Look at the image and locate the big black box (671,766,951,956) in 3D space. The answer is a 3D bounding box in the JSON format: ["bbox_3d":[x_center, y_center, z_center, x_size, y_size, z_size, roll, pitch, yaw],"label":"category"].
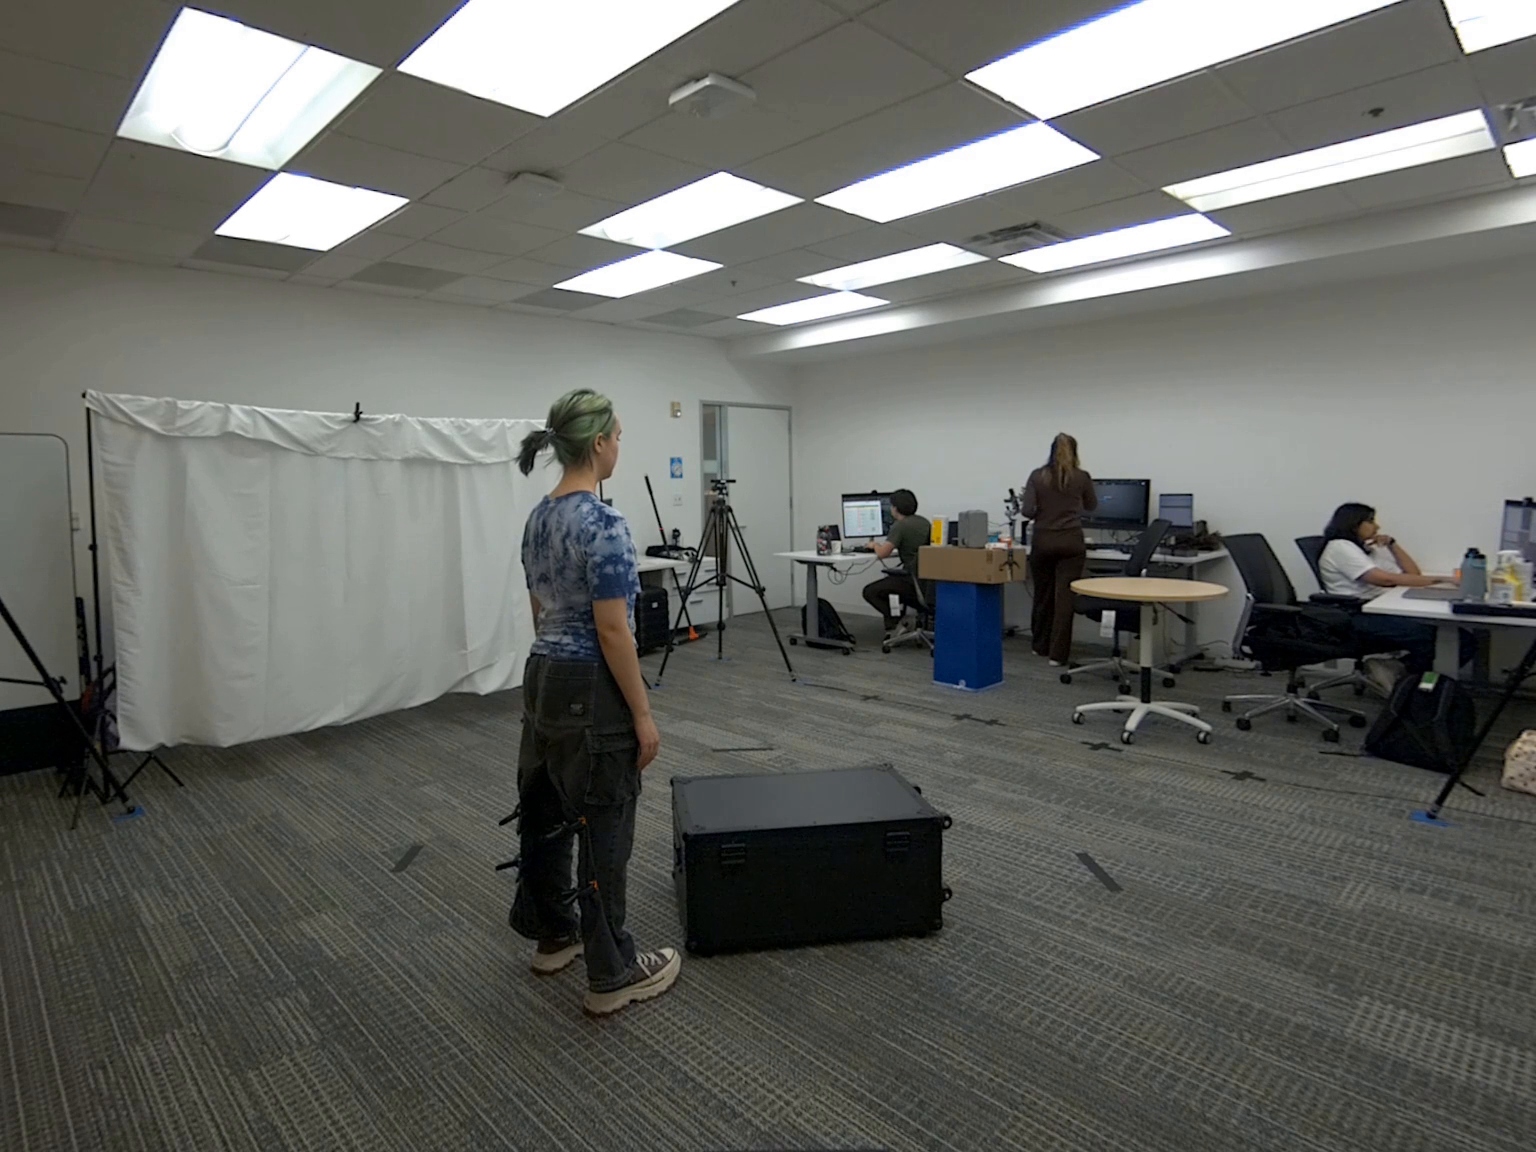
[{"bbox_3d":[0.075,0.892,2.763,0.855,0.395,0.527,-2,5,-8],"label":"big black box"}]
